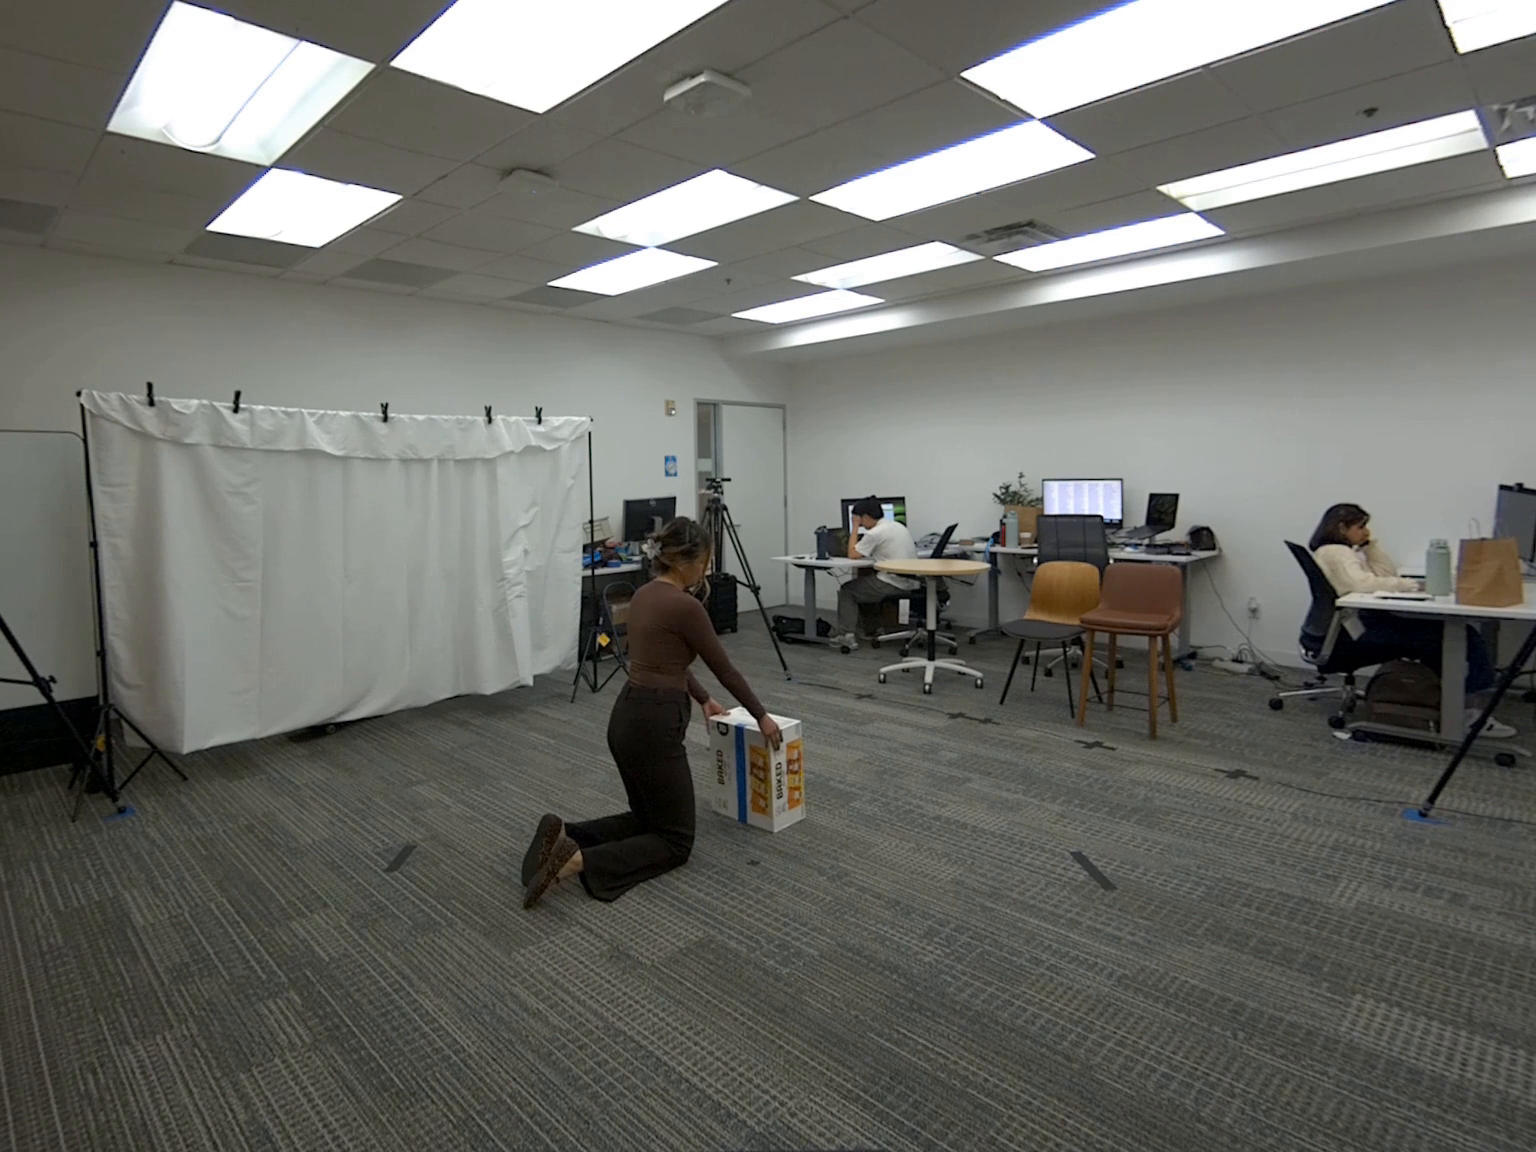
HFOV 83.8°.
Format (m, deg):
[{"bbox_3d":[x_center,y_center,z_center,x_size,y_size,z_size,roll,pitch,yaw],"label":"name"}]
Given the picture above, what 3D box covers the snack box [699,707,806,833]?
[{"bbox_3d":[-0.049,0.787,3.531,0.351,0.403,0.200,3,8,42],"label":"snack box"}]
